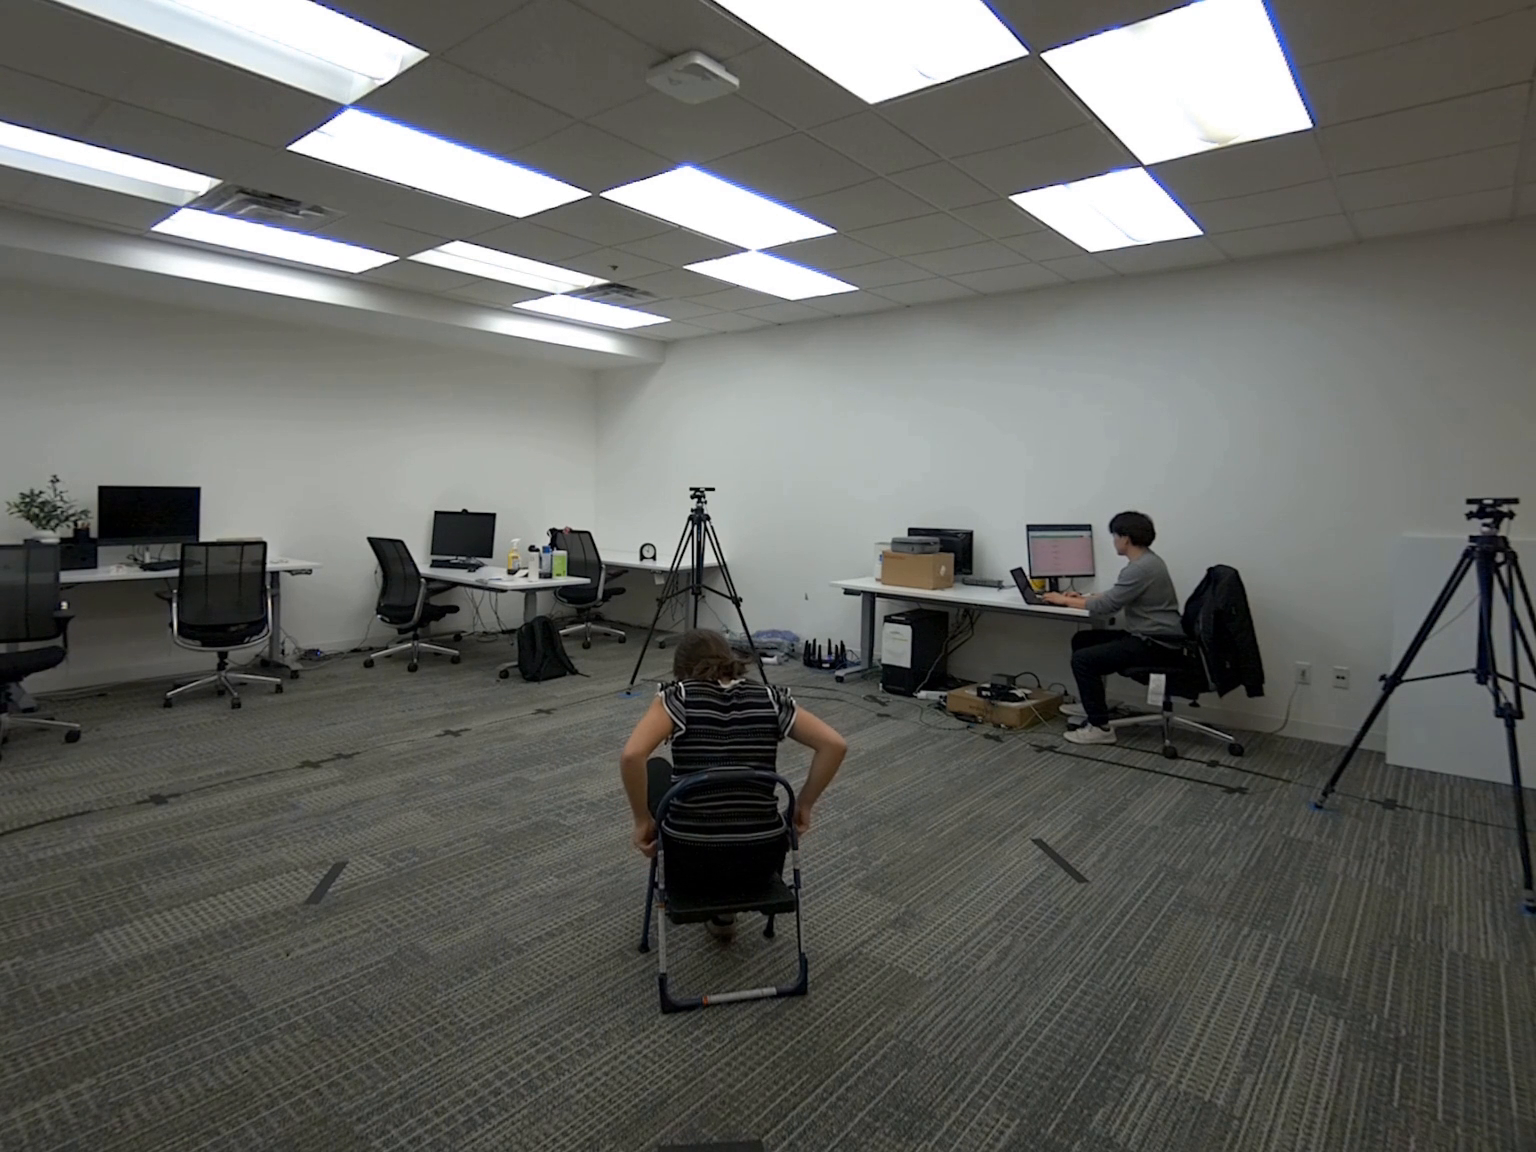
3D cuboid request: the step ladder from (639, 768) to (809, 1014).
[{"bbox_3d":[-0.138,0.841,2.441,0.423,0.604,0.356,-1,3,-17],"label":"step ladder"}]
